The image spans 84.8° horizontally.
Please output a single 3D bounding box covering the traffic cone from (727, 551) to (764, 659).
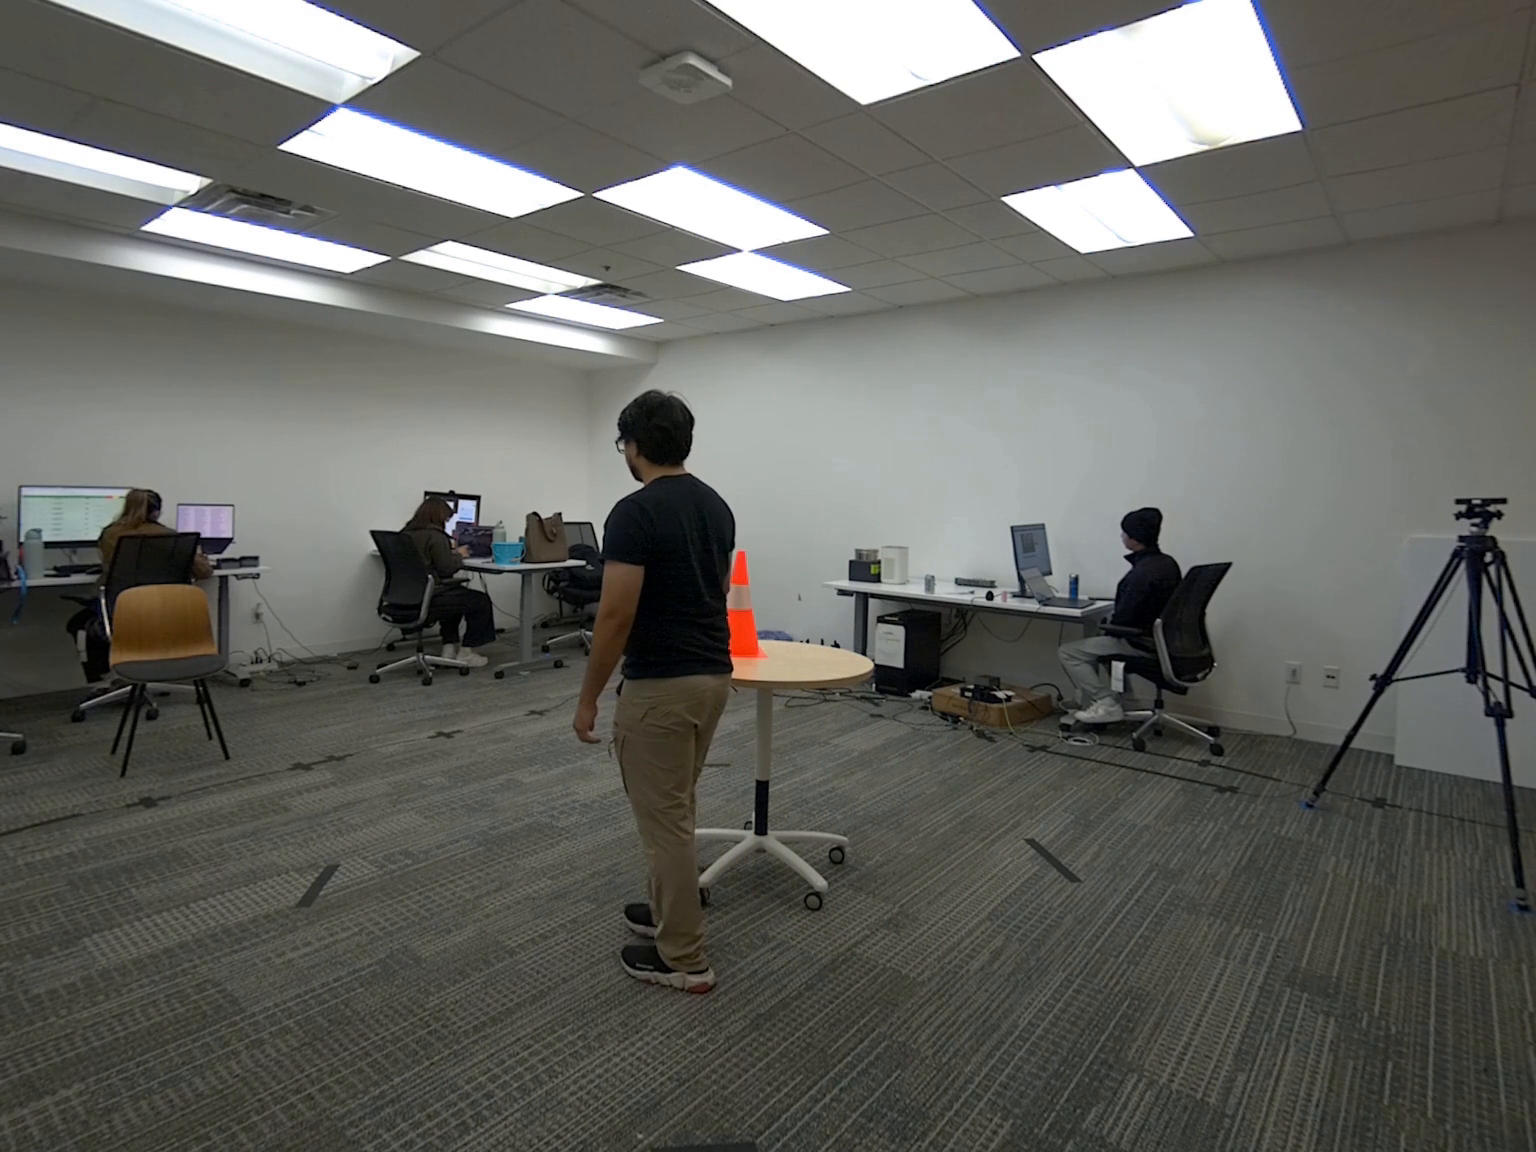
[{"bbox_3d":[-0.113,0.097,3.148,0.202,0.382,0.207,1,5,-14],"label":"traffic cone"}]
